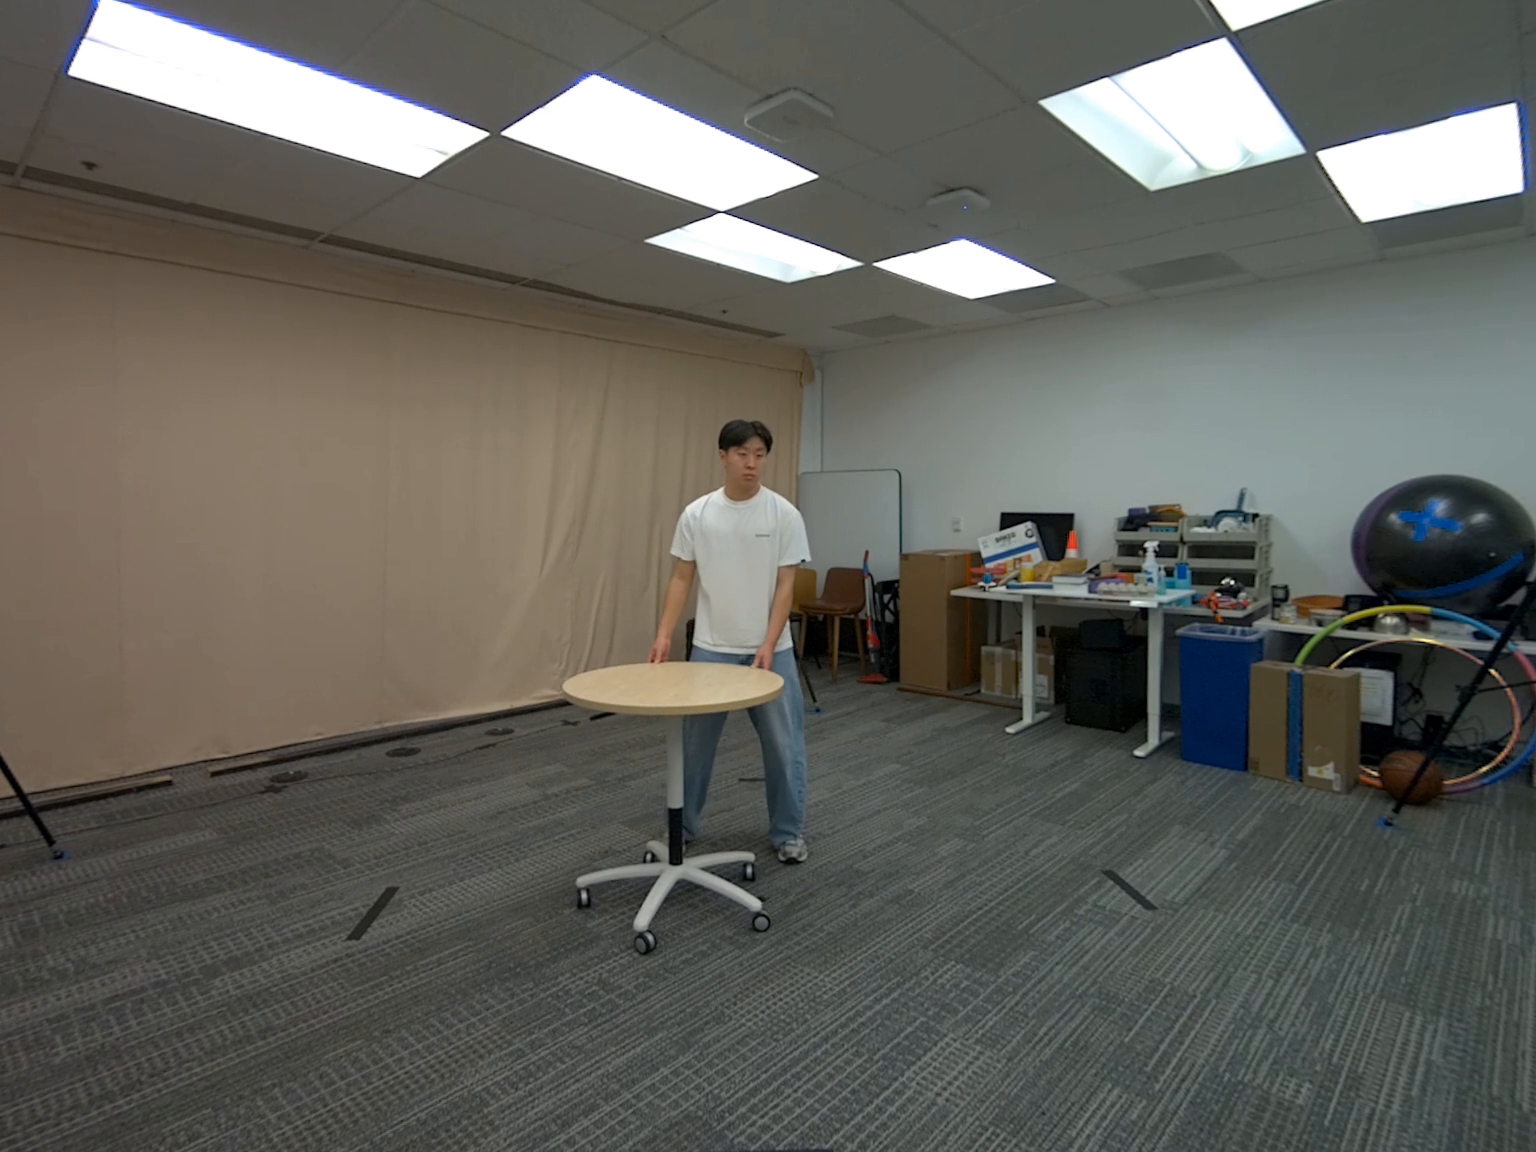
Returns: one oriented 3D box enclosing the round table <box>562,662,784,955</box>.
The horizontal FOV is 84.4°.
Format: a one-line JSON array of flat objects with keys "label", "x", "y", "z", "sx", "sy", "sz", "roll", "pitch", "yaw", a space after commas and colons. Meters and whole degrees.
[{"label": "round table", "x": -0.318, "y": 0.761, "z": 2.940, "sx": 0.763, "sy": 0.792, "sz": 0.766, "roll": -1, "pitch": 3, "yaw": -2}]
